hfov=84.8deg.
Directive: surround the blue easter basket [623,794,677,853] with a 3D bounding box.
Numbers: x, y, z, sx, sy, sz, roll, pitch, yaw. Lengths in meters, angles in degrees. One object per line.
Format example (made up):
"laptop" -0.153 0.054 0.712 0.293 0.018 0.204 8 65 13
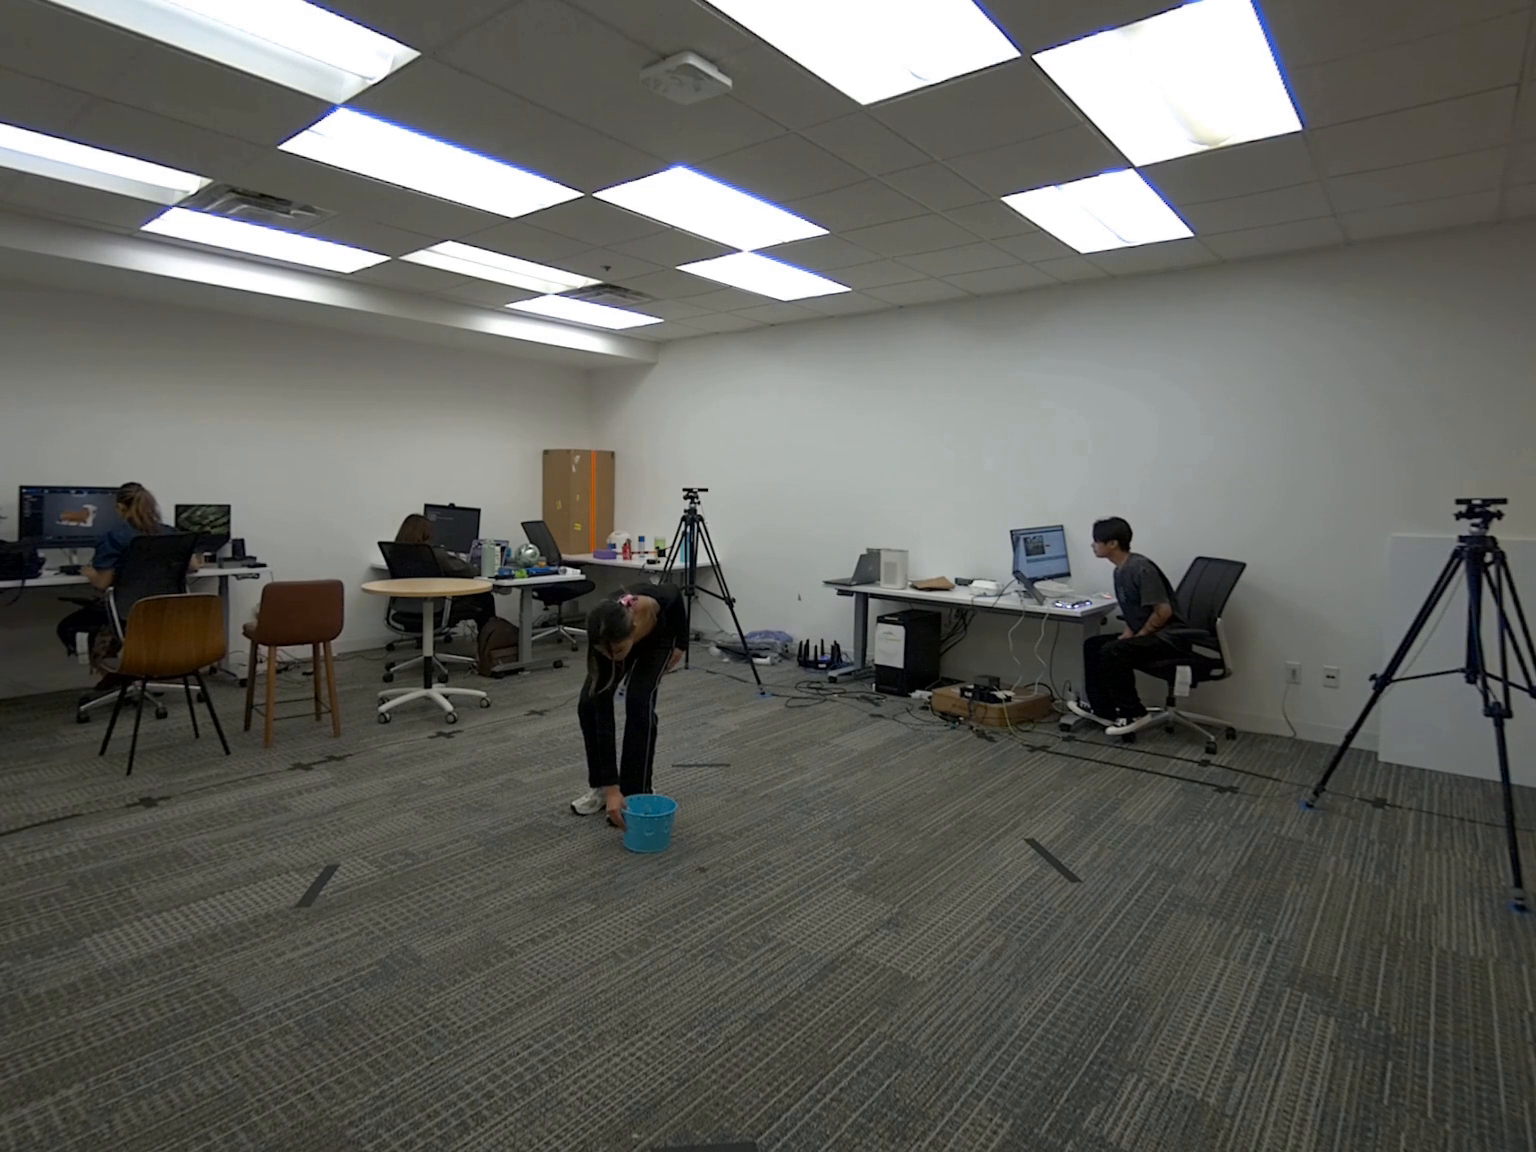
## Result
"blue easter basket" -0.491 0.954 3.329 0.243 0.155 0.245 0 5 -2
